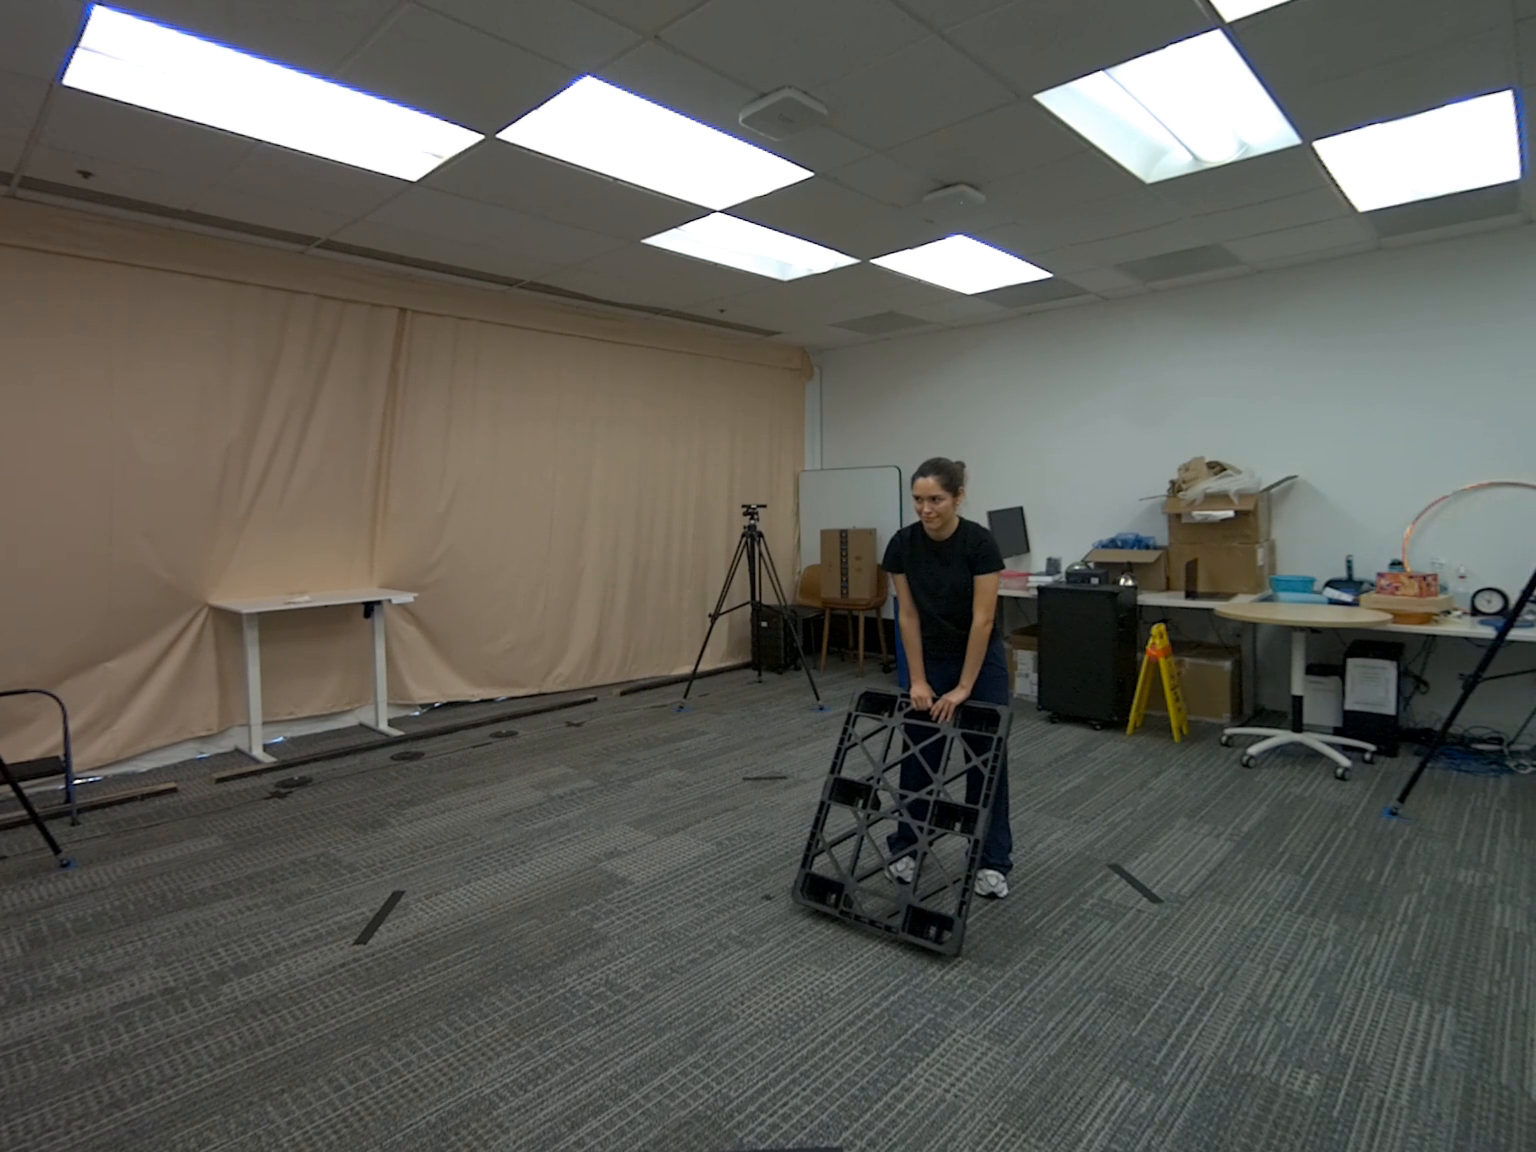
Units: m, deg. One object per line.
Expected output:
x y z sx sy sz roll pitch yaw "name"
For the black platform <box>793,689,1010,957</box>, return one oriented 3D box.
0.484 0.802 2.876 0.625 0.808 0.138 2 -29 39 "black platform"
